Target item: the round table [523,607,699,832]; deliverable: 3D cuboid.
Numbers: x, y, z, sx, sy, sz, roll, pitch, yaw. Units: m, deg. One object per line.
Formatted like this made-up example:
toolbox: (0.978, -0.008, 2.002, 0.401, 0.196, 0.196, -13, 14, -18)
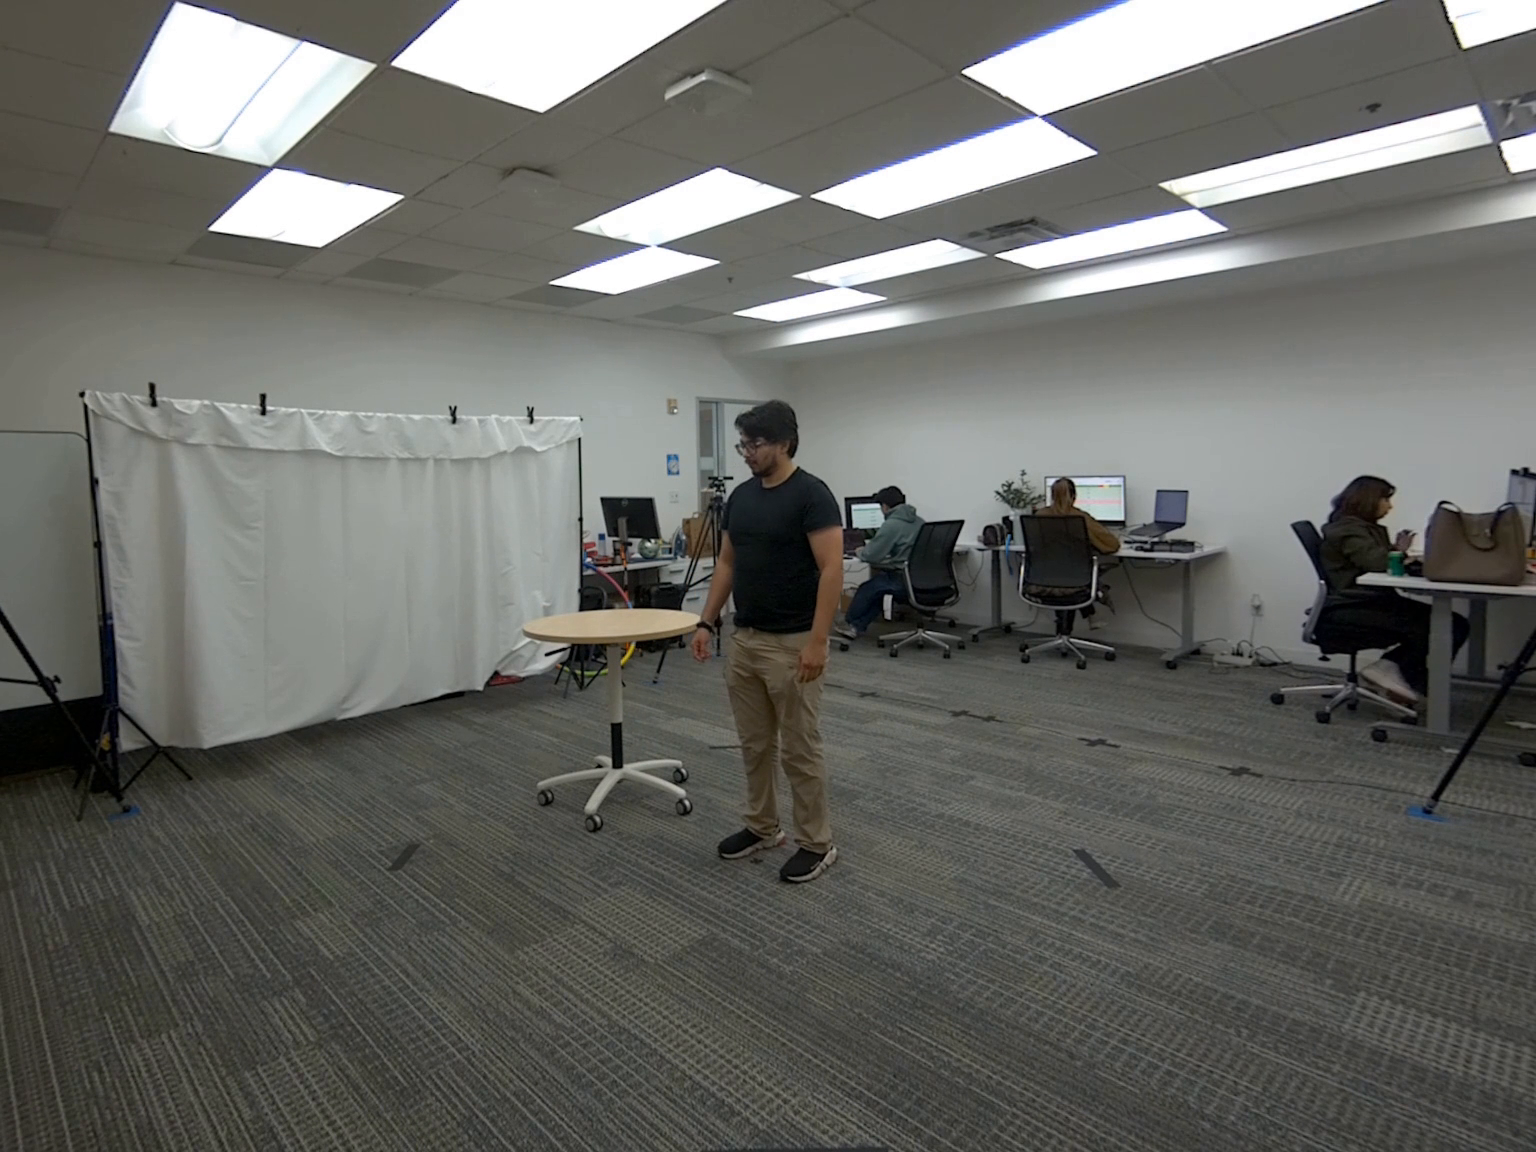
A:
round table: (-0.664, 0.587, 3.709, 0.784, 0.784, 0.788, -2, 4, -2)
